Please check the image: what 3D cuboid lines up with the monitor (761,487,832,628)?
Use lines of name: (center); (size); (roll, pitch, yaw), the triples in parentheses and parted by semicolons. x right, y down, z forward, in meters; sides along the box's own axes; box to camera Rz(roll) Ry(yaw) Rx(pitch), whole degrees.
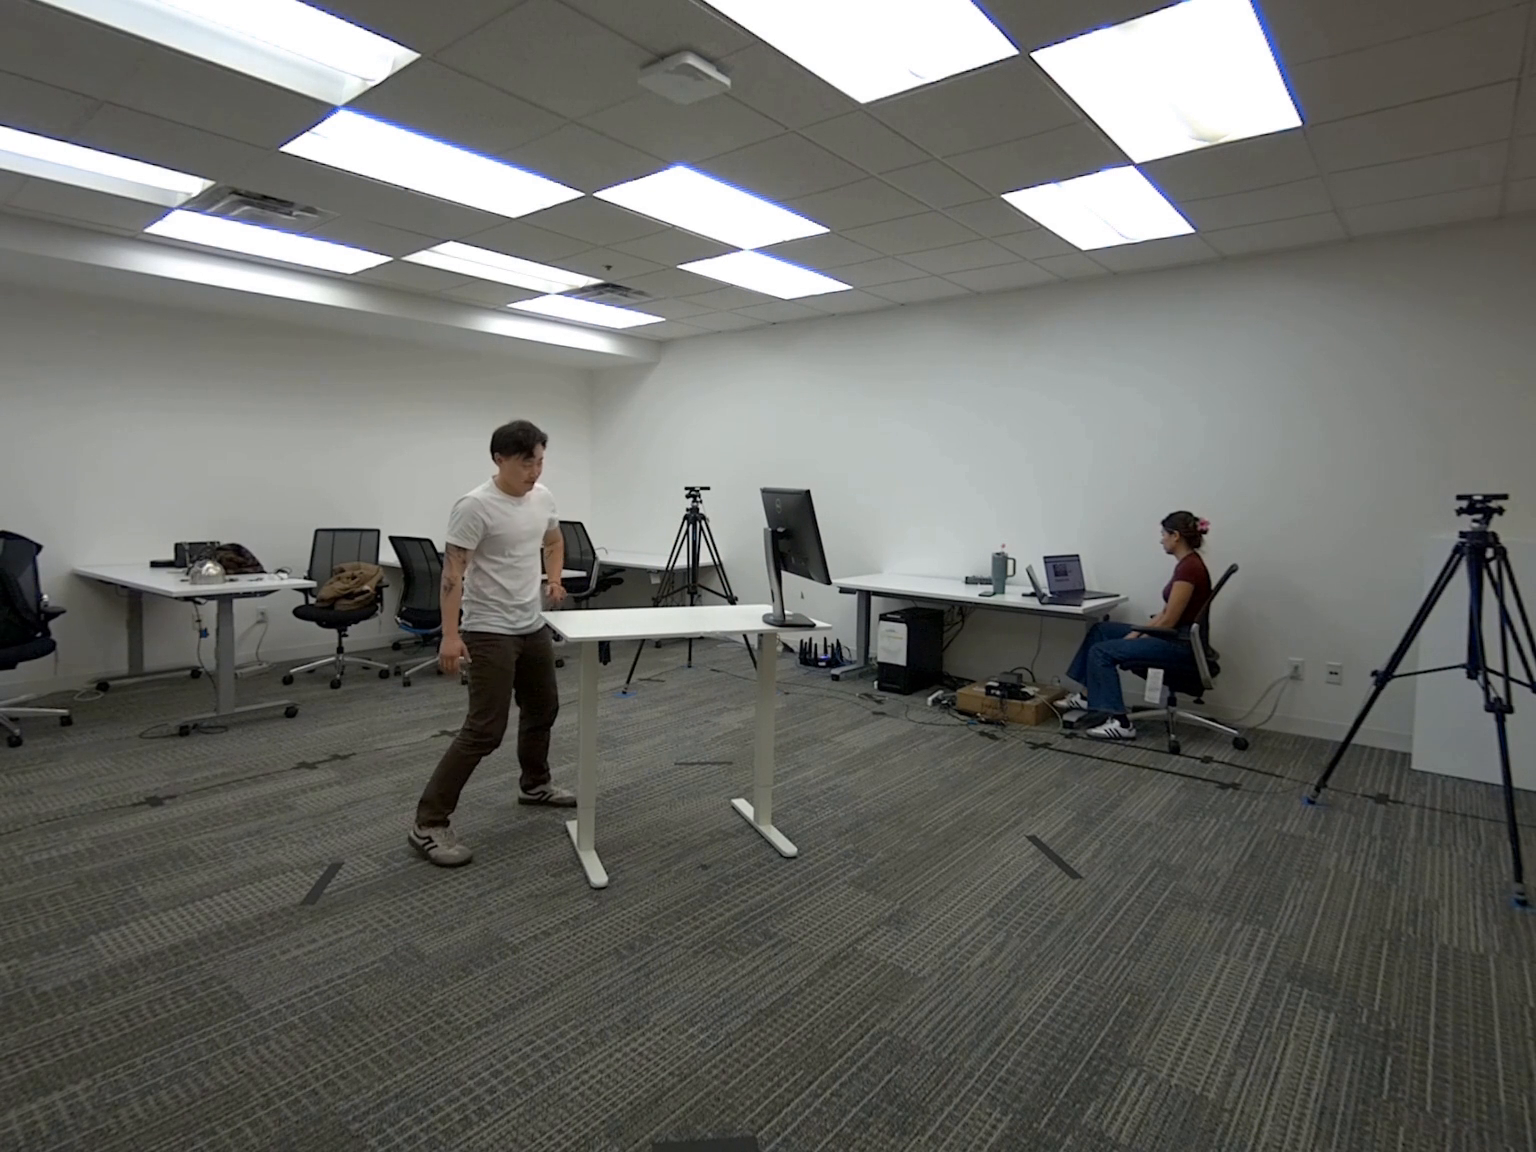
monitor: (0.061, -0.078, 3.257); (0.183, 0.520, 0.552); (-2, 5, -21)
